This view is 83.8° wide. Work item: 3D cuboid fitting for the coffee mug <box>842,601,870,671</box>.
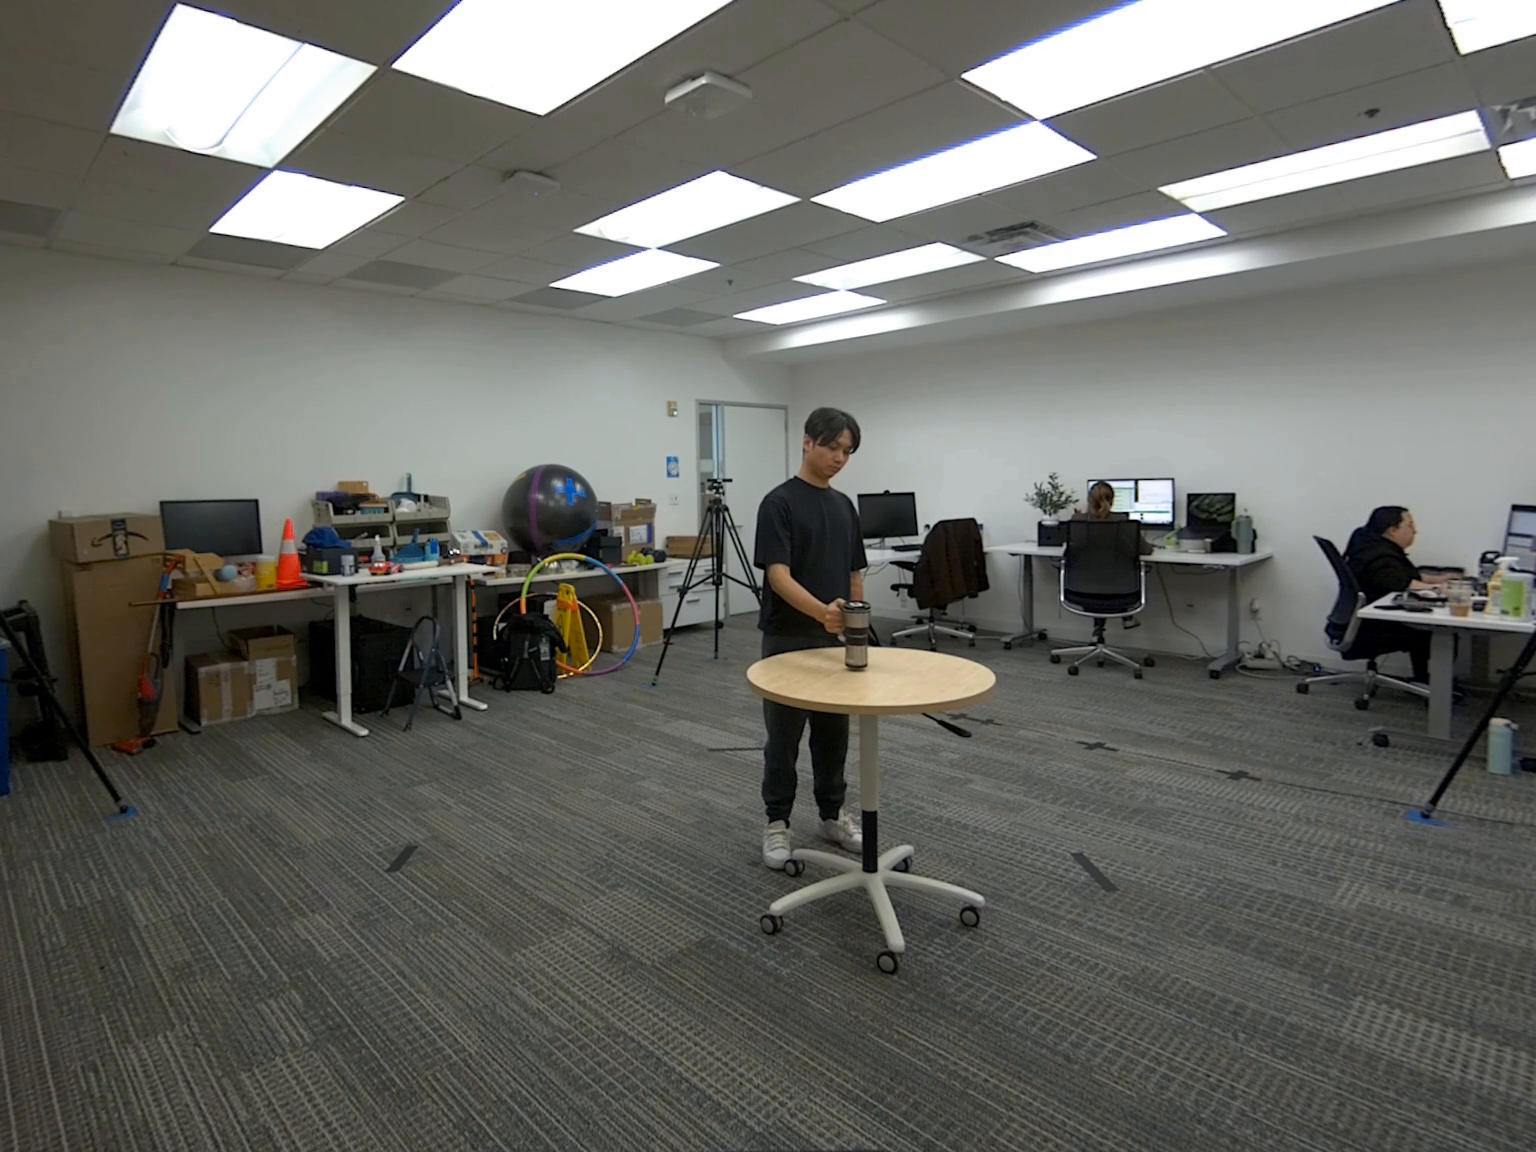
[{"bbox_3d":[0.269,0.190,2.739,0.086,0.201,0.126,-8,11,-32],"label":"coffee mug"}]
